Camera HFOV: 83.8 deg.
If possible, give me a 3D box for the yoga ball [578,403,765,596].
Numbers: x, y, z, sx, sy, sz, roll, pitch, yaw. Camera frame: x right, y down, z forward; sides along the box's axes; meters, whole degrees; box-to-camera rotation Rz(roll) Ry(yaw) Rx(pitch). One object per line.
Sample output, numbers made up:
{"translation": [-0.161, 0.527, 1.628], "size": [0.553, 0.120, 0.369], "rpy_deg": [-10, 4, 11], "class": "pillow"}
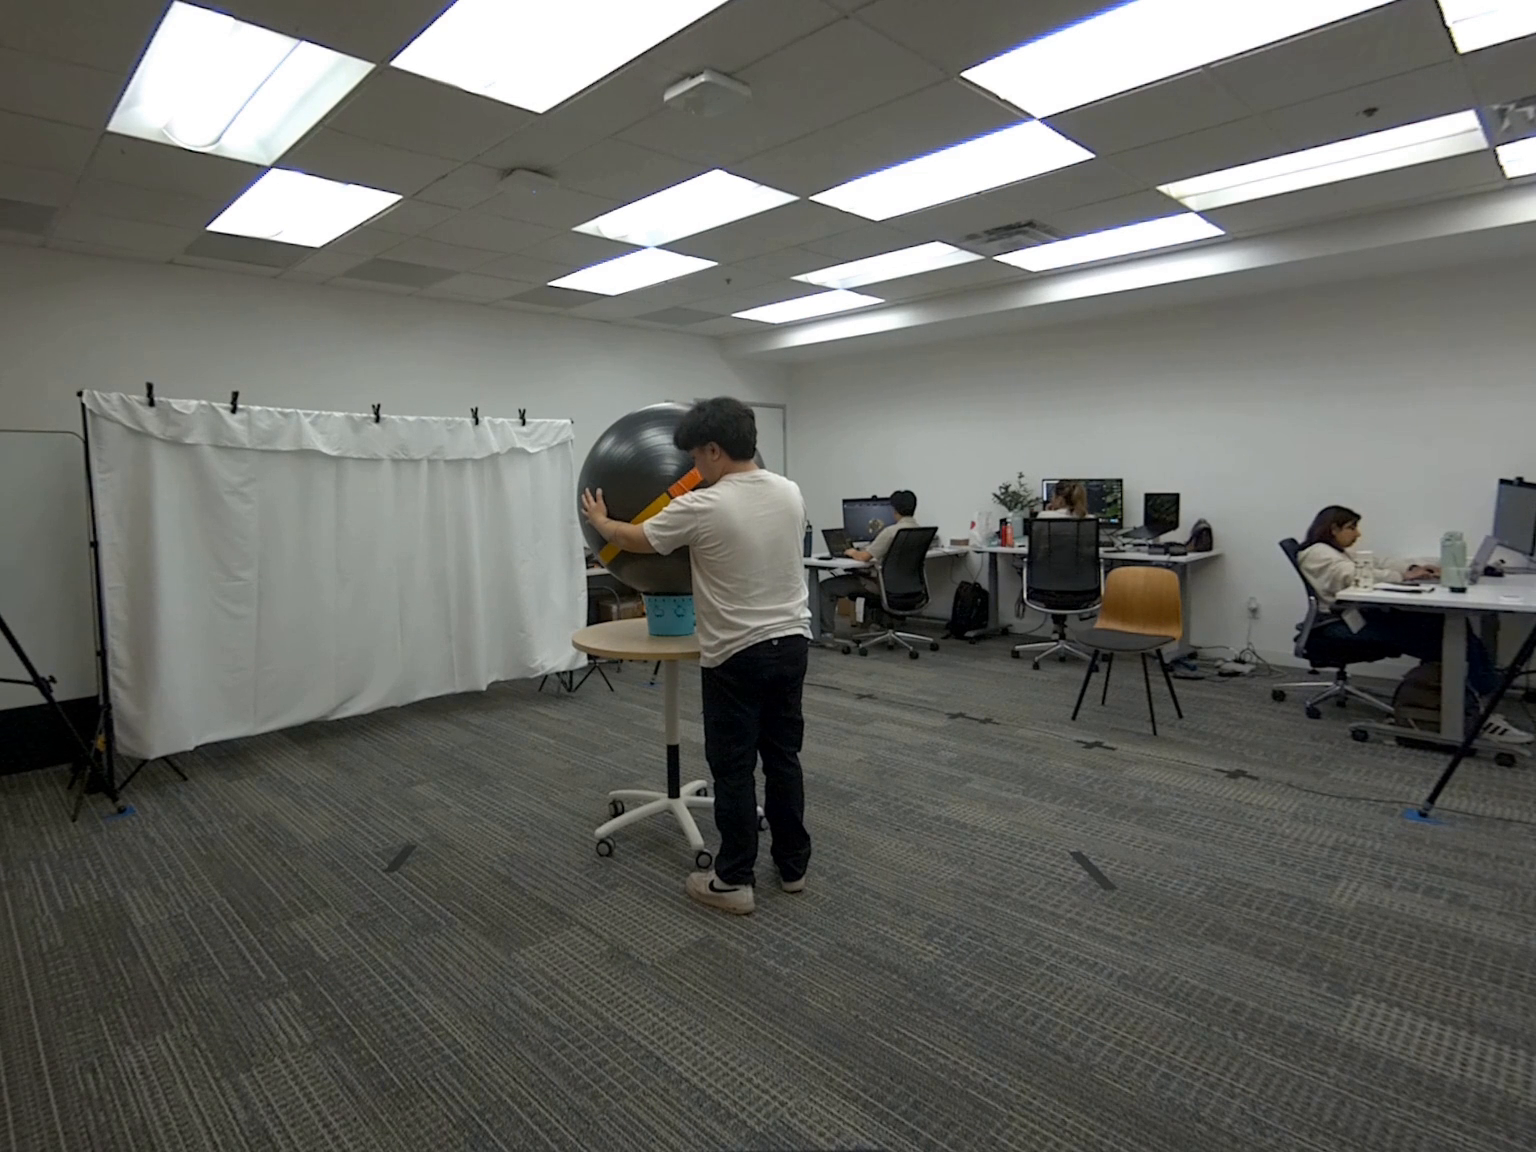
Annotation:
{"translation": [-0.373, -0.299, 3.361], "size": [0.757, 0.755, 0.762], "rpy_deg": [-1, 5, -2], "class": "yoga ball"}
